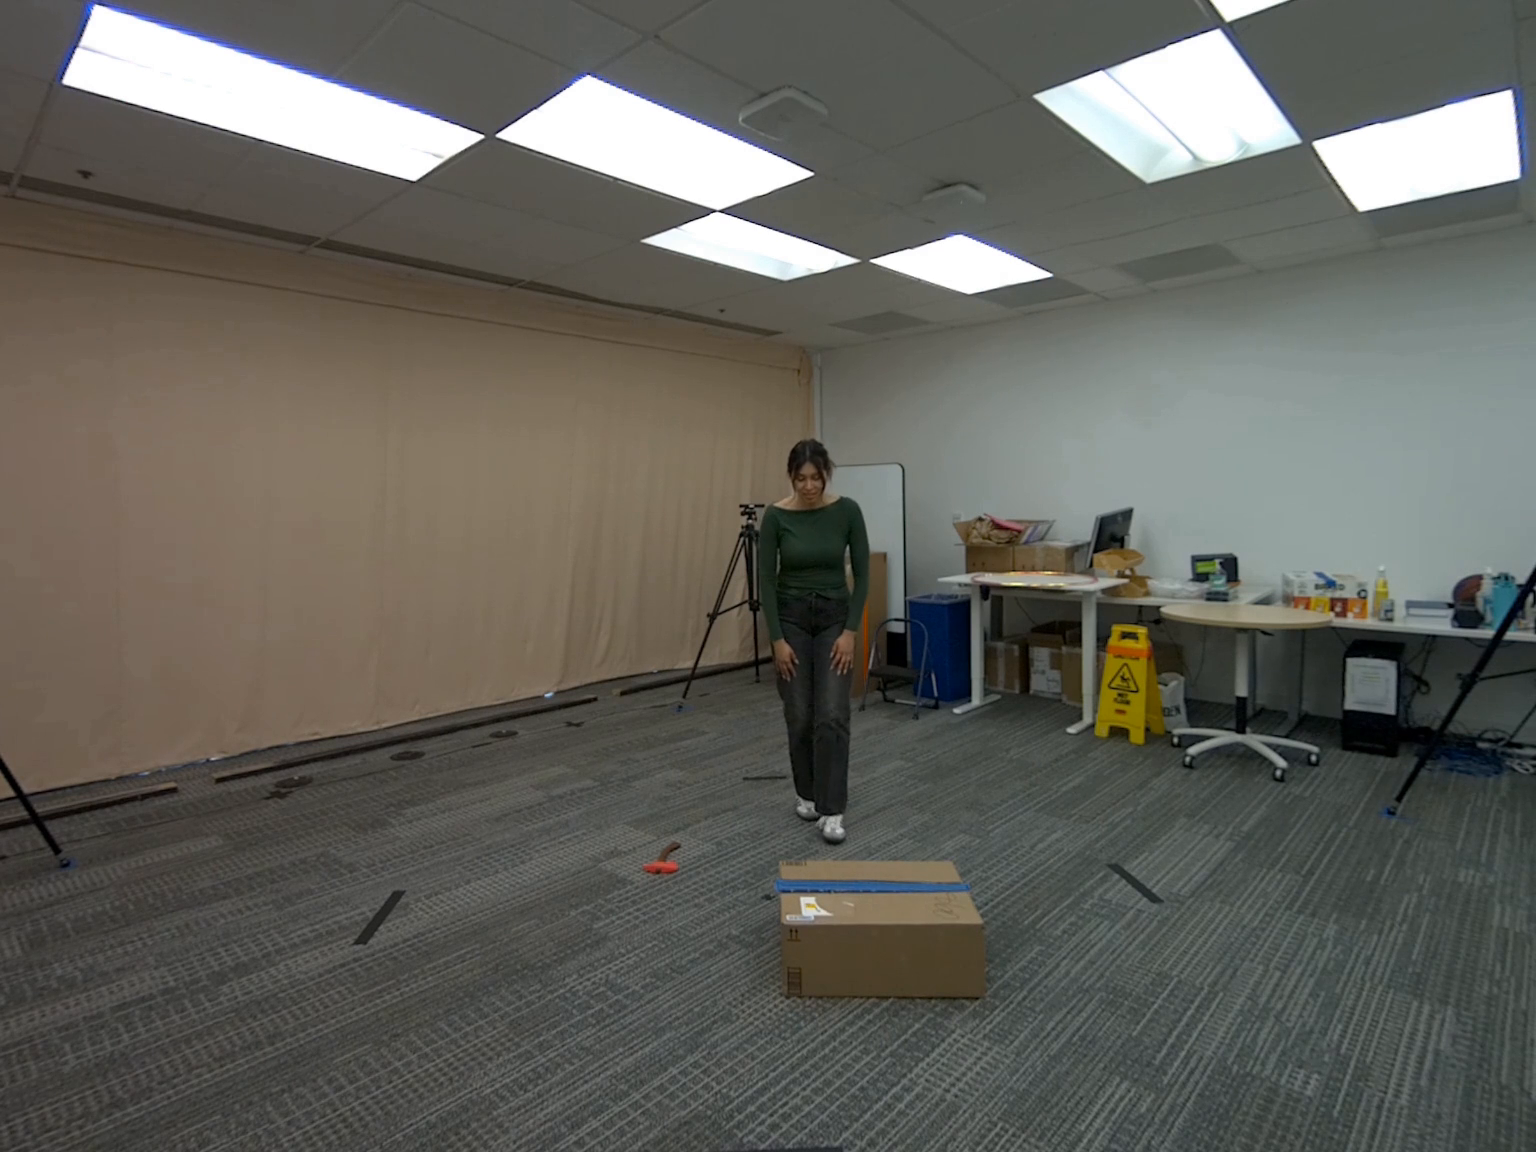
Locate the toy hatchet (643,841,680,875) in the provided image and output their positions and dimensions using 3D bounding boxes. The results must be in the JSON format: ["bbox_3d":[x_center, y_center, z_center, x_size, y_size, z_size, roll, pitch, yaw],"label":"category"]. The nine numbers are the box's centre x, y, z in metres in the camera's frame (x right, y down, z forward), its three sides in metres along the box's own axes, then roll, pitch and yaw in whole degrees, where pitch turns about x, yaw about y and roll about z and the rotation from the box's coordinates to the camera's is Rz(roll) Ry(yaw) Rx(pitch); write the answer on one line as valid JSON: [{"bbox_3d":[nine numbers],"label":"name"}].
[{"bbox_3d":[-0.379,1.108,3.307,0.134,0.029,0.264,0,4,21],"label":"toy hatchet"}]
